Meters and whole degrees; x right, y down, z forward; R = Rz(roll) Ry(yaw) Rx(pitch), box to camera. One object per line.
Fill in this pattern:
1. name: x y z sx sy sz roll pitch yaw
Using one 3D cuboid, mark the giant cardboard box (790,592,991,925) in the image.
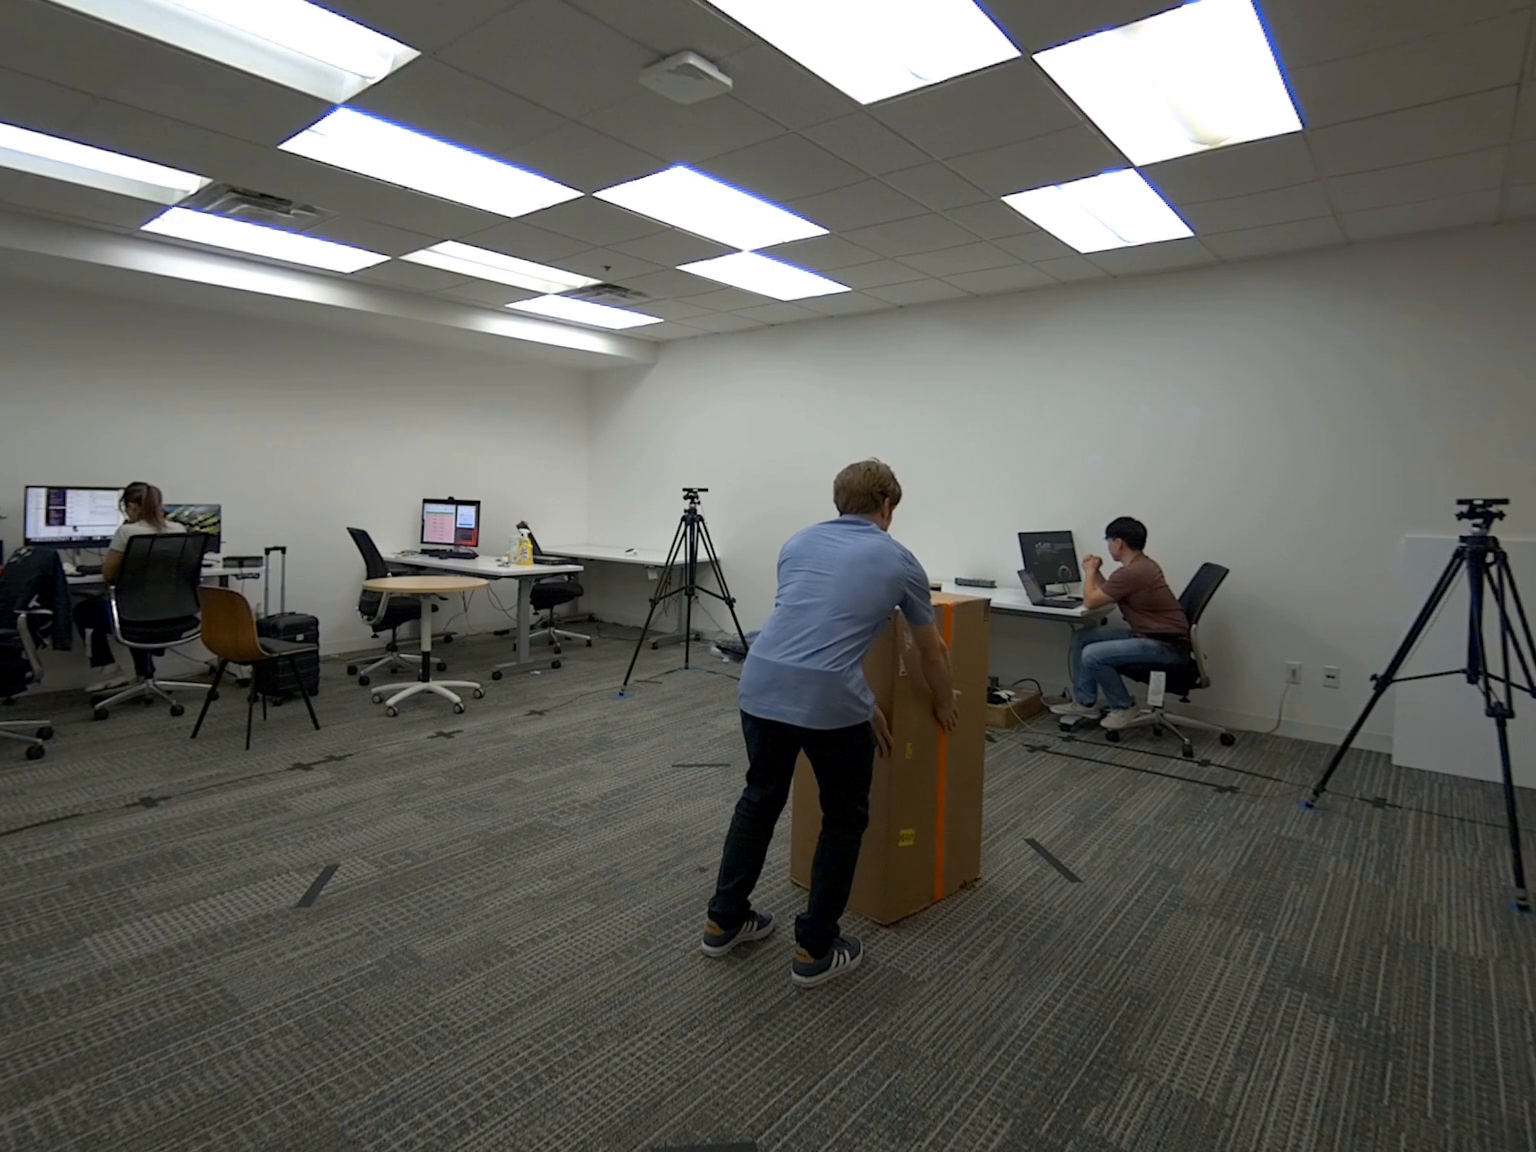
1. giant cardboard box: 0.440 0.582 3.044 0.559 1.024 0.441 -1 3 -44
